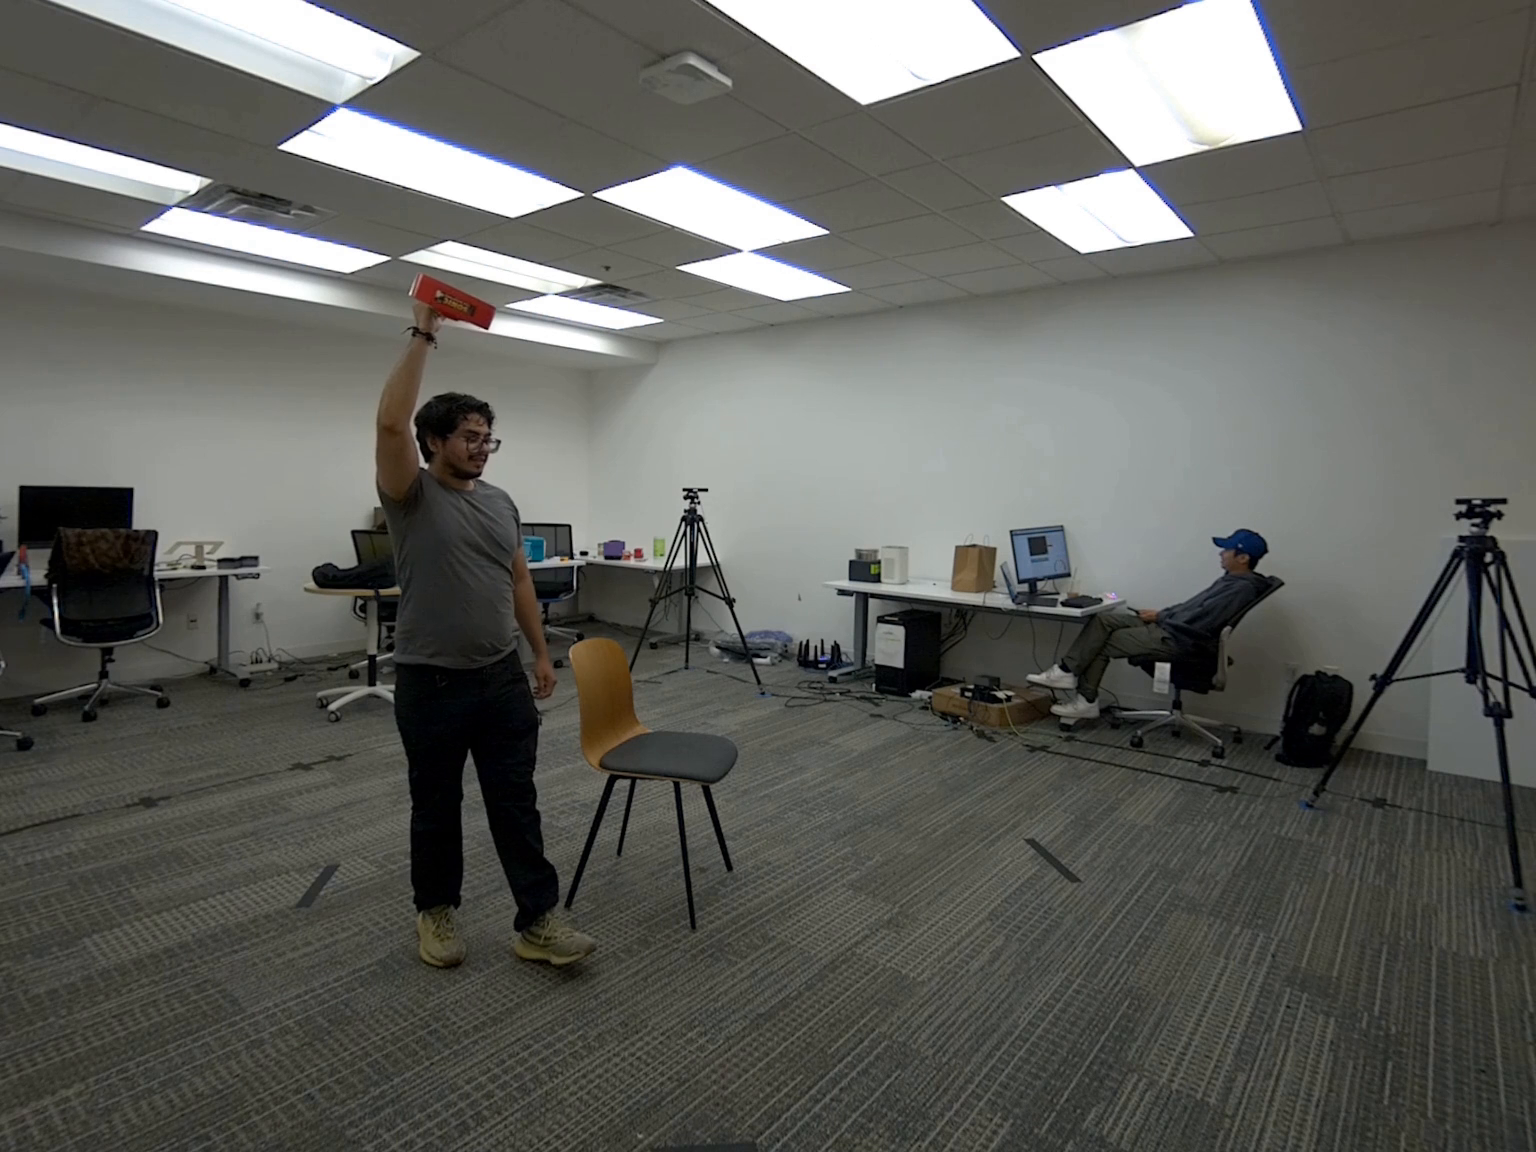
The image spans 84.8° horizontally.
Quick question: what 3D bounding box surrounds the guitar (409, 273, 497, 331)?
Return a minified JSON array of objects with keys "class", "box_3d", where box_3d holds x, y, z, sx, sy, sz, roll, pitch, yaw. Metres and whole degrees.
[{"class":"guitar","box_3d":[-0.867,-0.715,2.163,0.186,0.070,0.518,18,8,-39]}]
